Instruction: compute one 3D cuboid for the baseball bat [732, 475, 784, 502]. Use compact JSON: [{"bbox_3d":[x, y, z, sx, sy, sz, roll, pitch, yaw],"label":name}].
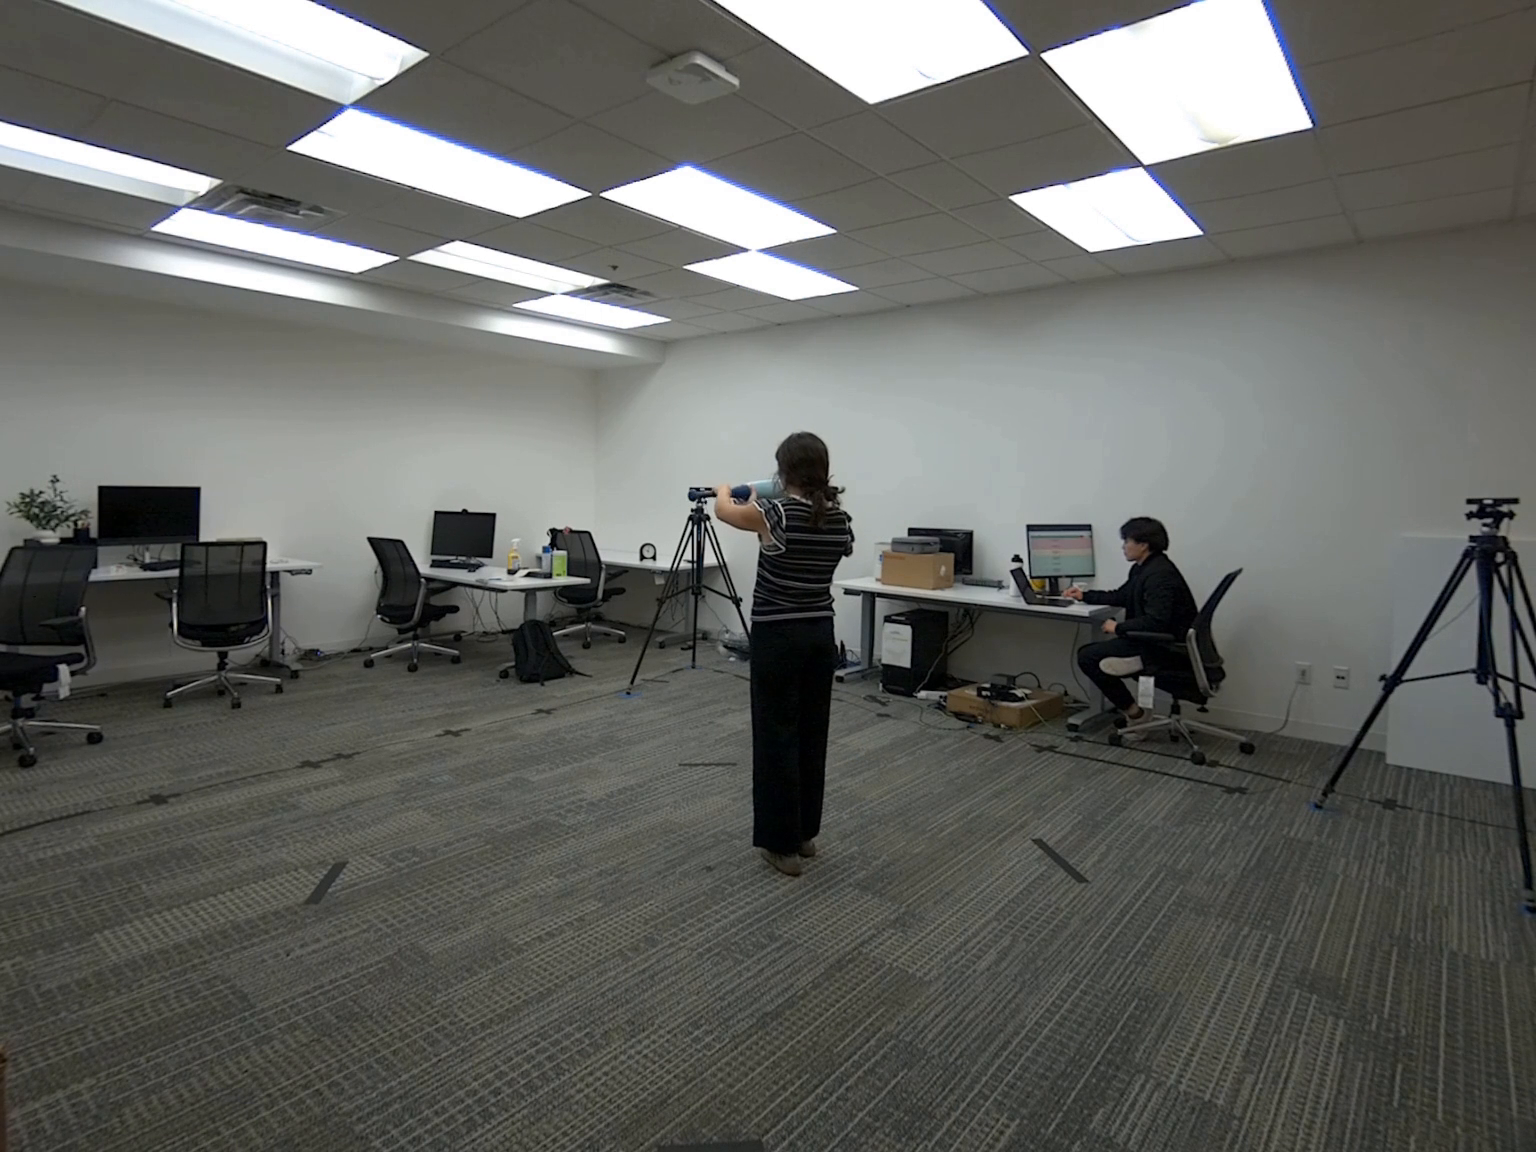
[{"bbox_3d":[-0.127,-0.362,3.645,0.529,0.088,0.092,-9,10,-37],"label":"baseball bat"}]
